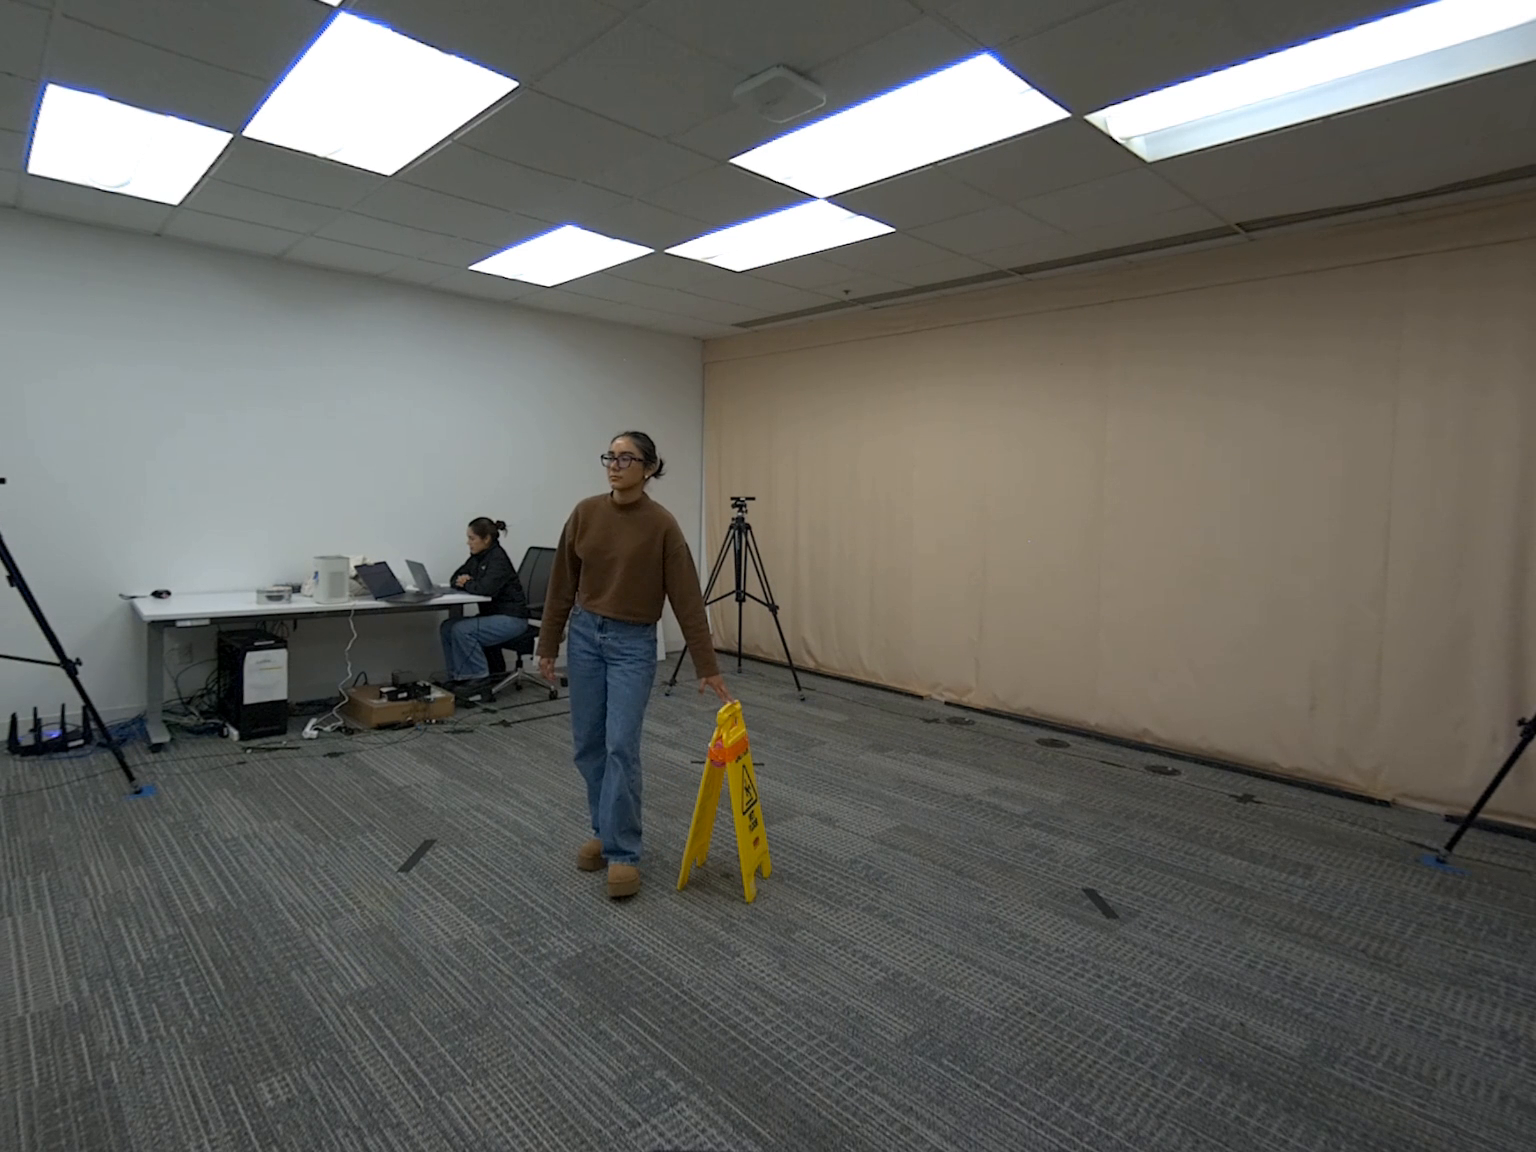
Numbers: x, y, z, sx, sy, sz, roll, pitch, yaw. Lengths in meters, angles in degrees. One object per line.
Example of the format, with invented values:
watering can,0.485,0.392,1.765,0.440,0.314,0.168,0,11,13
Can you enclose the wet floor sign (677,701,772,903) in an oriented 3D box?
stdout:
wet floor sign,-0.151,0.788,3.039,0.294,0.644,0.279,3,5,18
